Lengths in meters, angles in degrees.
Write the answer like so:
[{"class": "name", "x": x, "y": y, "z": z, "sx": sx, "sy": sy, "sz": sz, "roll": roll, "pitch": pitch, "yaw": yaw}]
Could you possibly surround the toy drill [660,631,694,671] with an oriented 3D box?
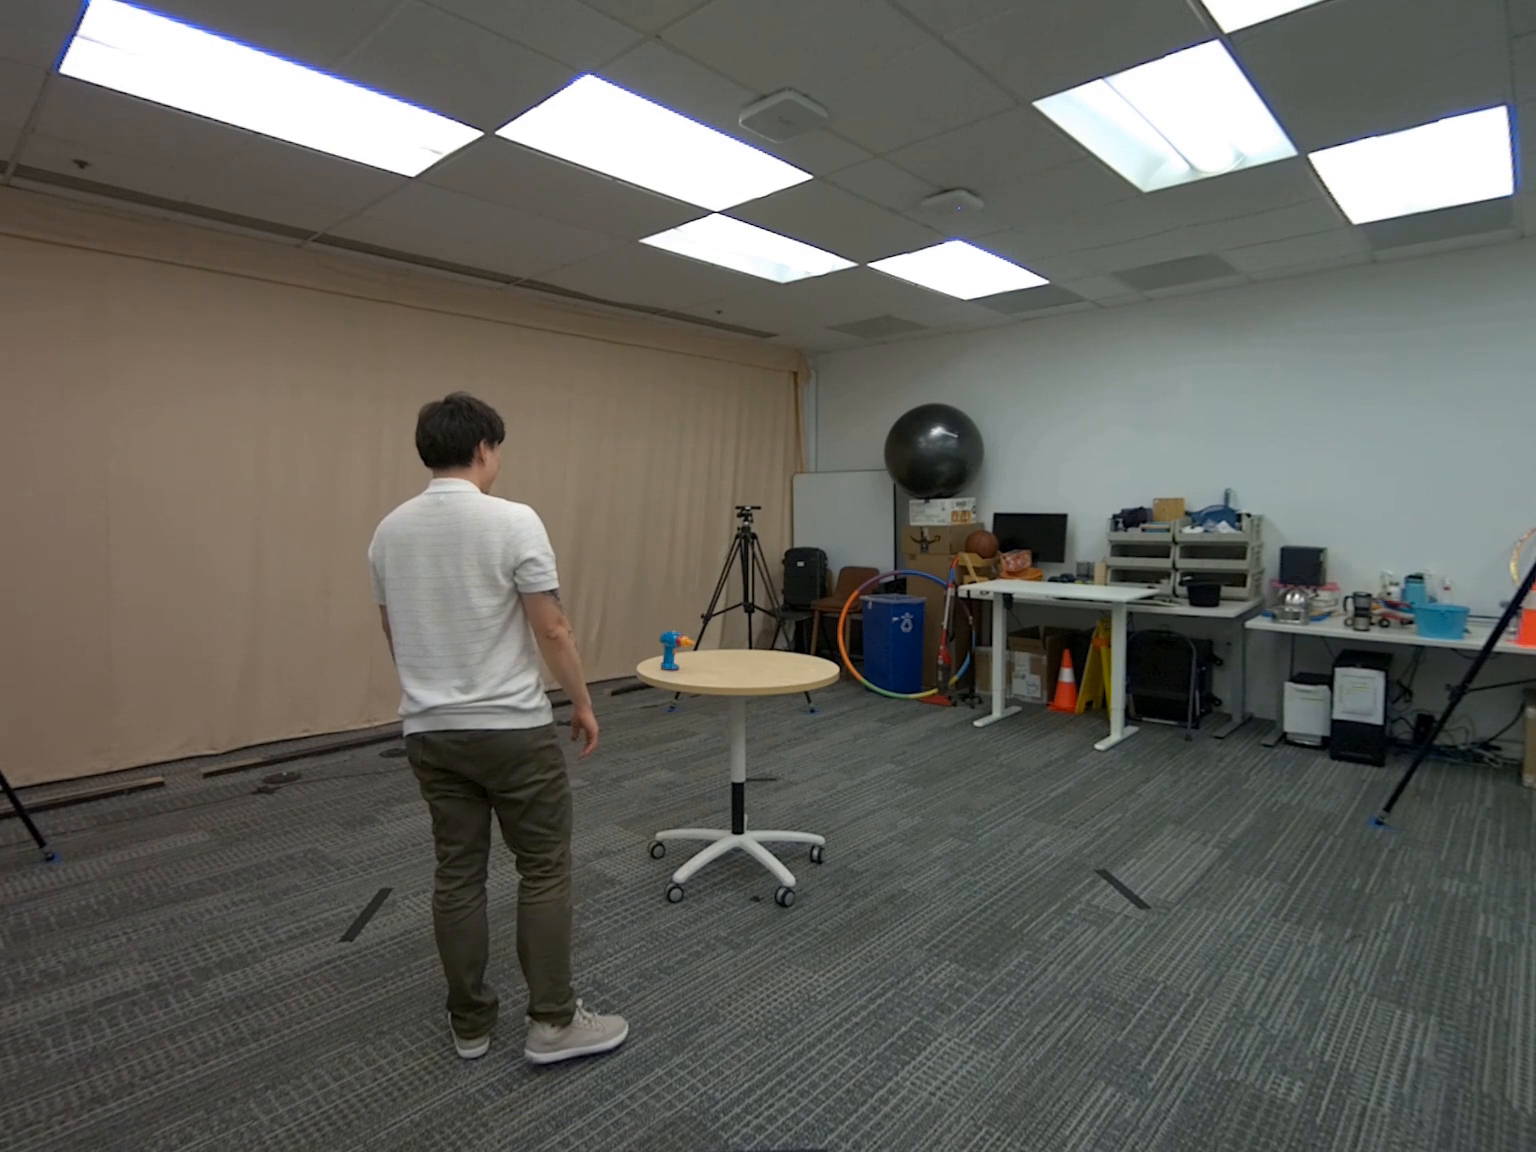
[{"class": "toy drill", "x": -0.325, "y": 0.278, "z": 3.110, "sx": 0.175, "sy": 0.146, "sz": 0.059, "roll": 2, "pitch": 2, "yaw": 35}]
